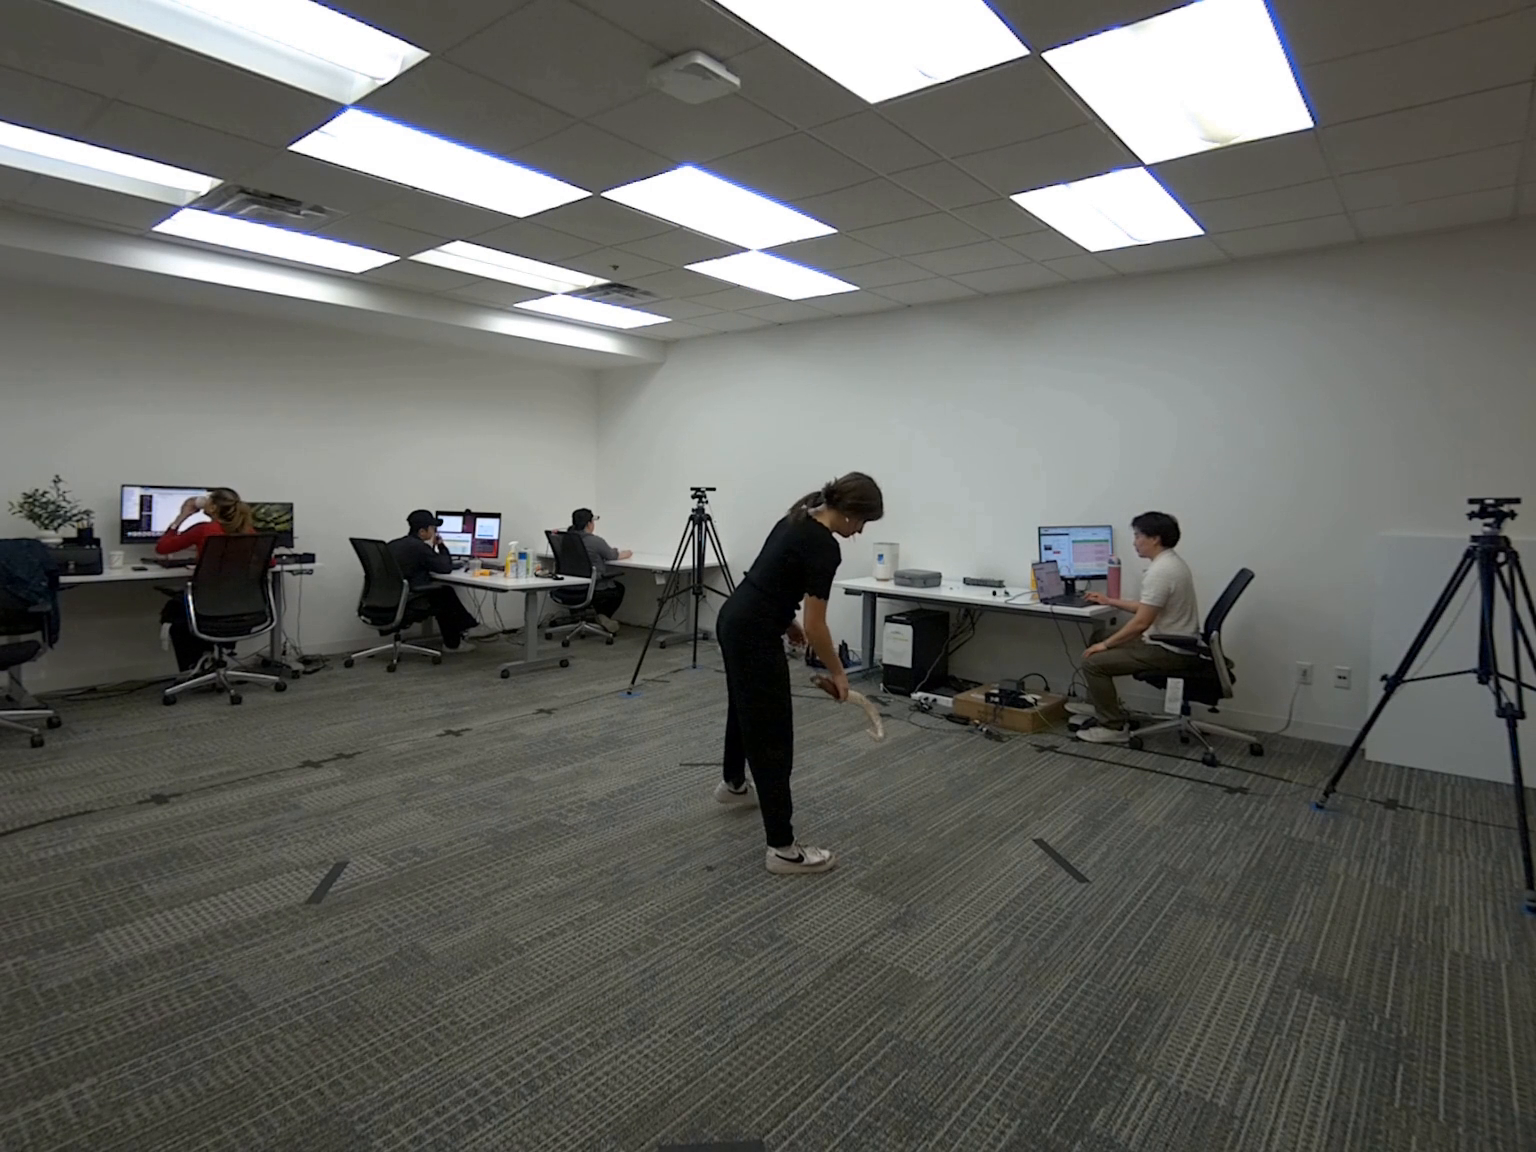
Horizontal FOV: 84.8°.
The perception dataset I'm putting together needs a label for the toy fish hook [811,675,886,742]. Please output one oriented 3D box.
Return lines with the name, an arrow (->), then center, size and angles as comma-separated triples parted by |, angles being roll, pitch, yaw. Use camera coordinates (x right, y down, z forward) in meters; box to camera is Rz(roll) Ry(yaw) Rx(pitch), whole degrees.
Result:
toy fish hook -> 0.303, 0.506, 3.242 | 0.485, 0.048, 0.234 | 34, 20, -45
